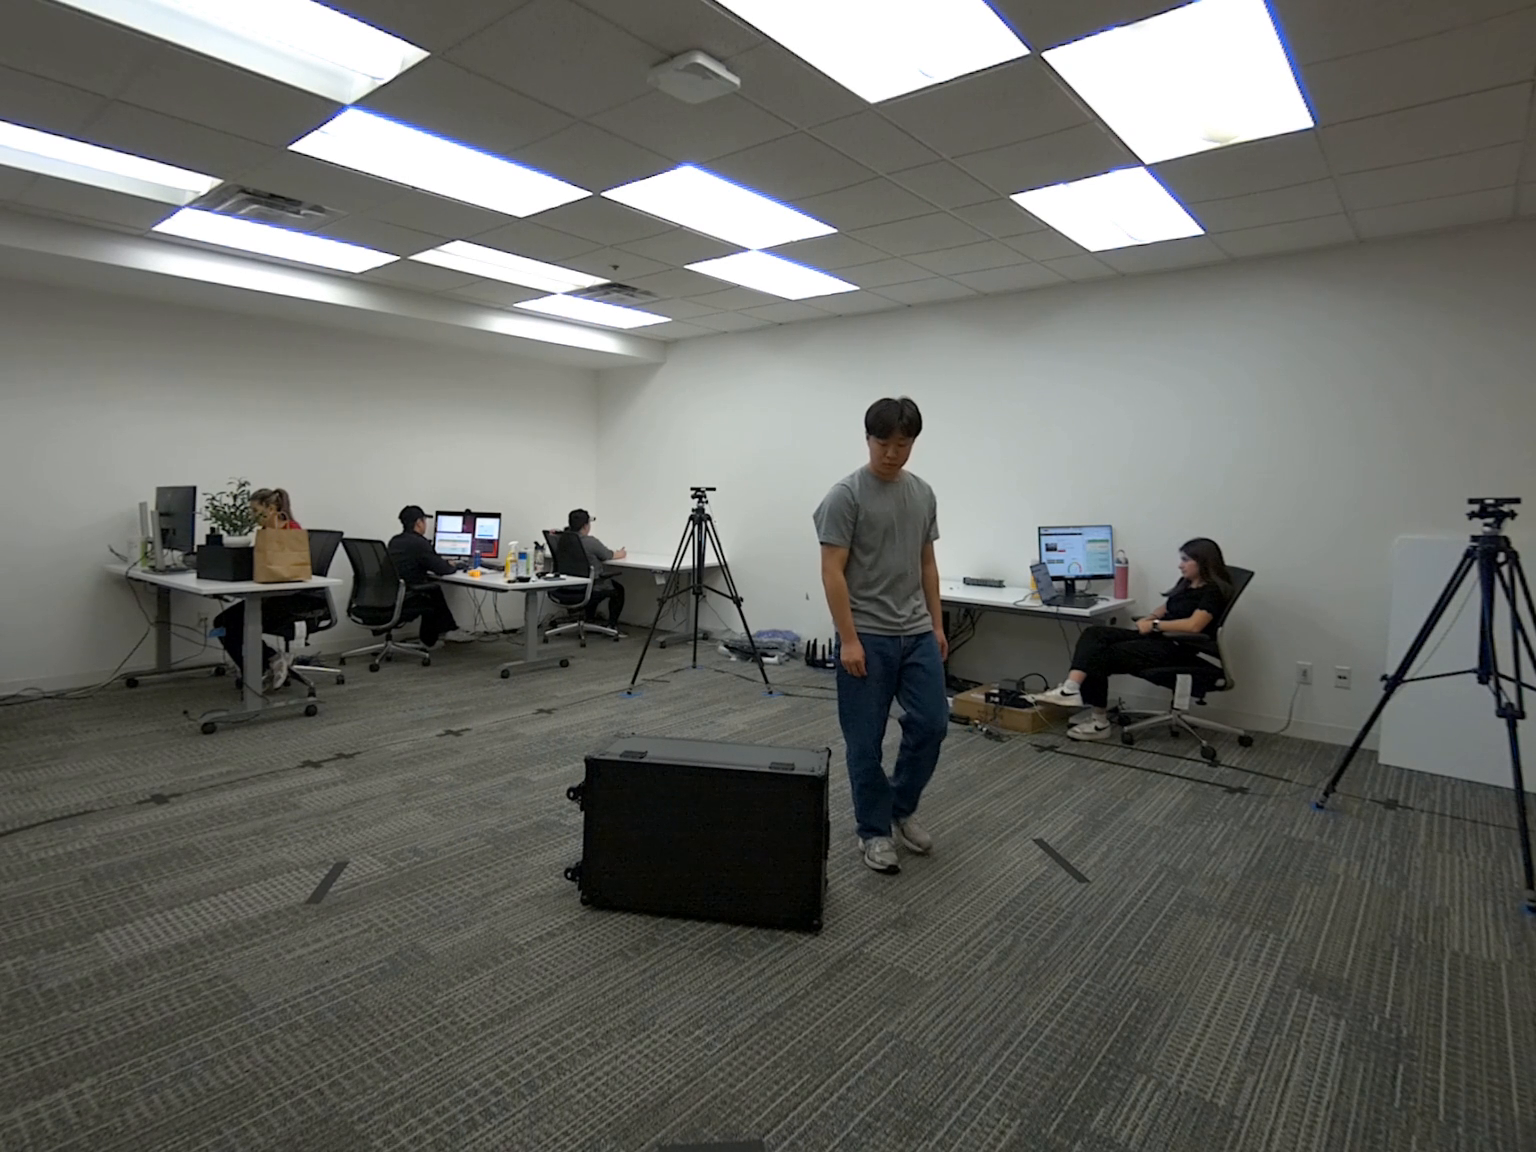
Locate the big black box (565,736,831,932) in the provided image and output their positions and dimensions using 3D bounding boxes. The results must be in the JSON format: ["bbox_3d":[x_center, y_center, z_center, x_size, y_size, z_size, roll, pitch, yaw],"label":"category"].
[{"bbox_3d":[-0.235,0.827,2.902,0.871,0.521,0.392,2,0,10],"label":"big black box"}]
